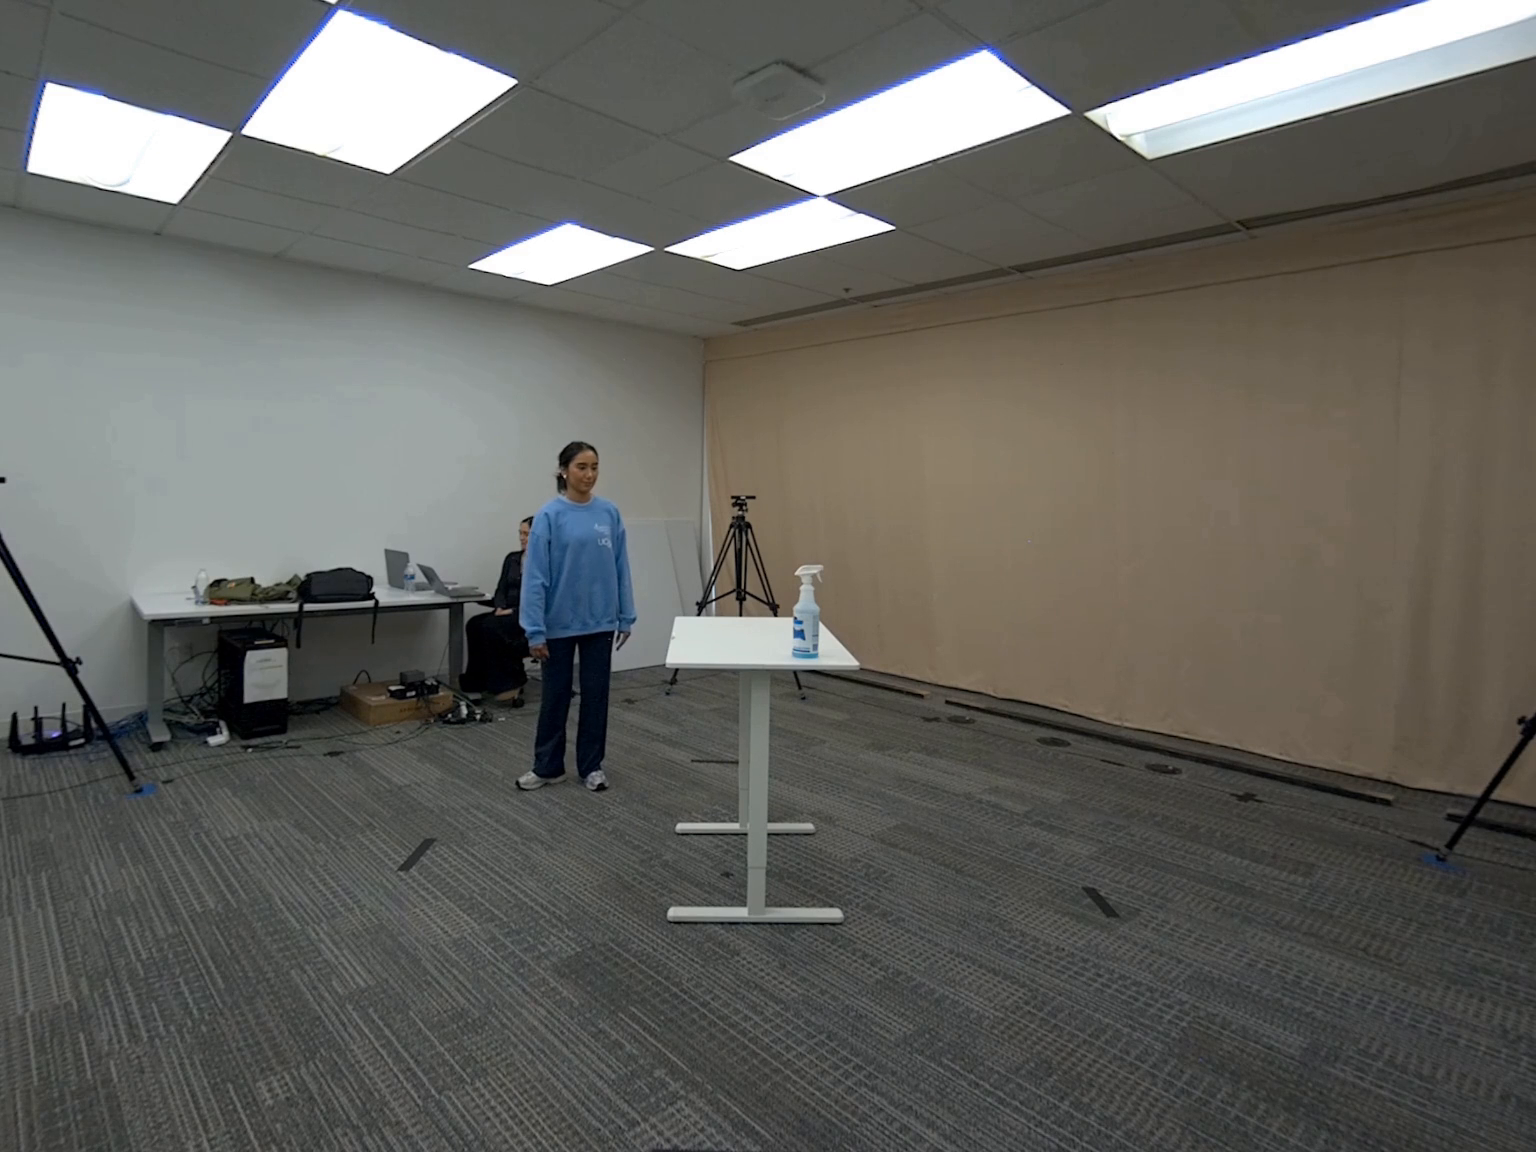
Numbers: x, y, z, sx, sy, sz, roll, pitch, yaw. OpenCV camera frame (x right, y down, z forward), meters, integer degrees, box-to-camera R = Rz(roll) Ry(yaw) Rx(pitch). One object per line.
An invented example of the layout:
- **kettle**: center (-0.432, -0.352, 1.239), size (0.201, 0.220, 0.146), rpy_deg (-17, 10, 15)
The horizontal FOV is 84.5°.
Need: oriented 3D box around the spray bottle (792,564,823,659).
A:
- **spray bottle**: center (0.122, 0.117, 2.717), size (0.091, 0.297, 0.086), rpy_deg (2, 2, 16)
